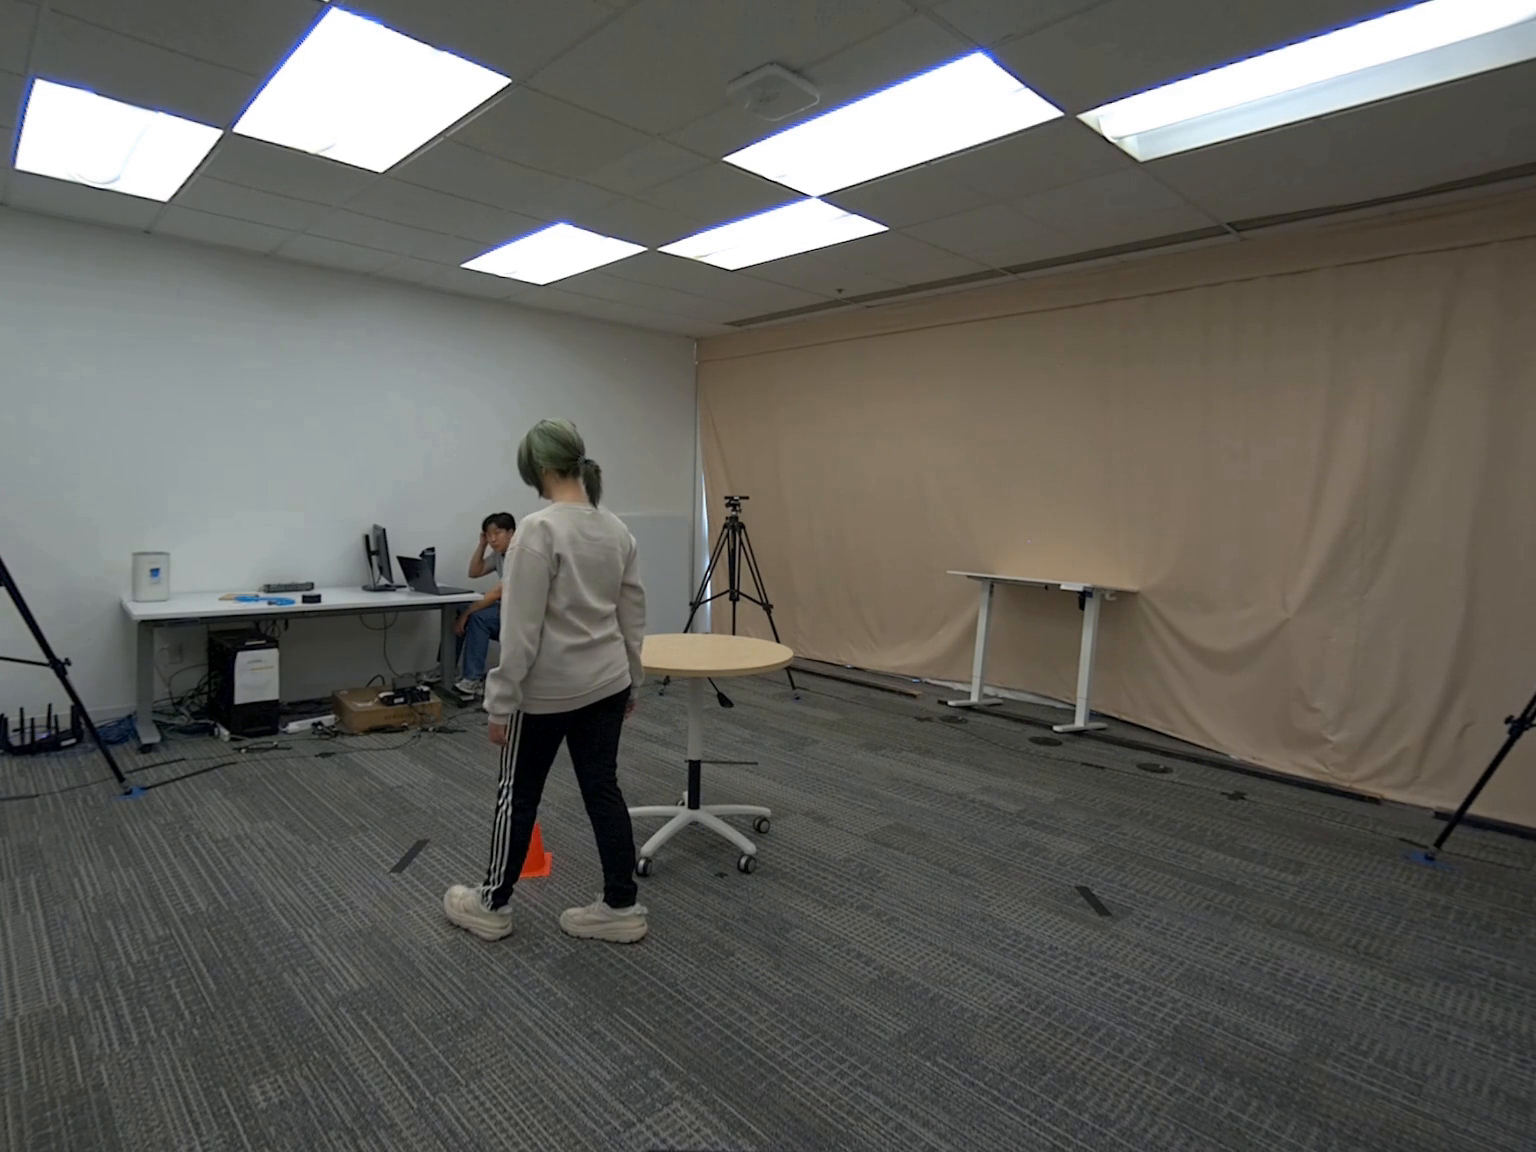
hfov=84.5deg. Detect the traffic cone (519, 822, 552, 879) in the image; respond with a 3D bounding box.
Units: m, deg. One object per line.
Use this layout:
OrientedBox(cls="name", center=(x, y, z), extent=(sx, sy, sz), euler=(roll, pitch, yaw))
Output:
OrientedBox(cls="traffic cone", center=(-0.926, 0.905, 3.133), extent=(0.203, 0.383, 0.205), euler=(-1, 4, -11))
